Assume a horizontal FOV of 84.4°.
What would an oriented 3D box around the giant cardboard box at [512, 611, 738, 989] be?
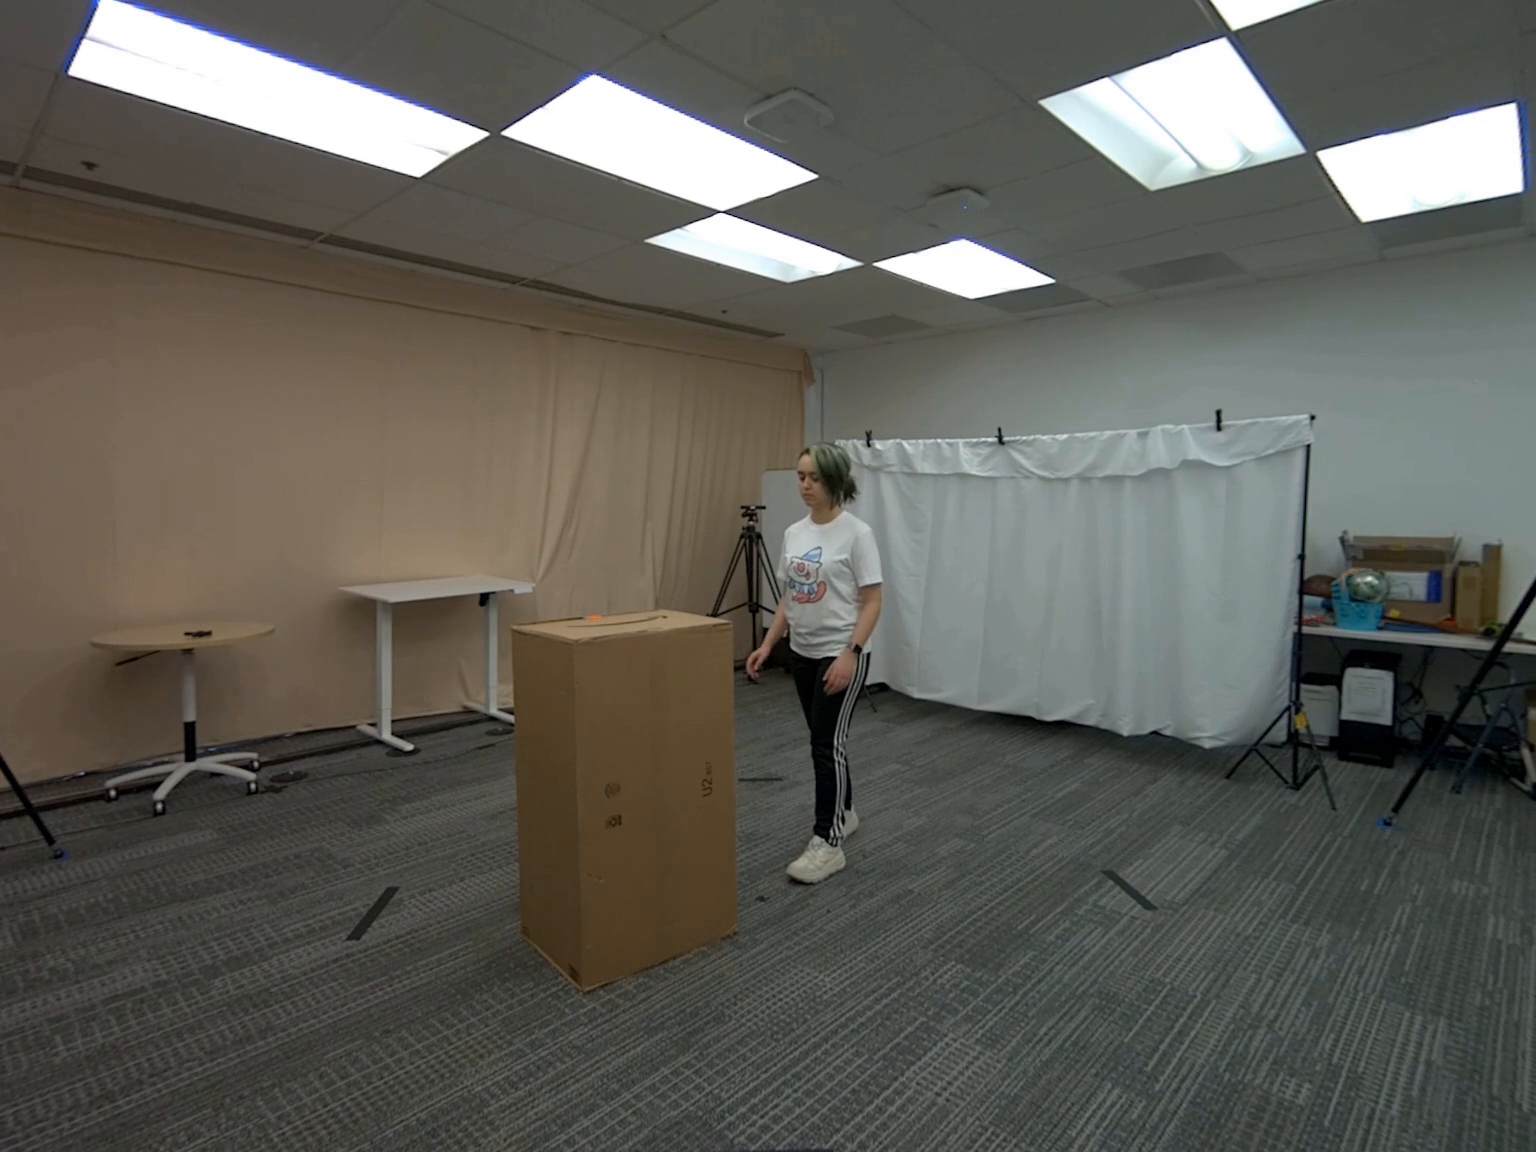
[{"bbox_3d":[-0.459,0.663,2.715,0.566,1.025,0.461,-3,5,-40],"label":"giant cardboard box"}]
